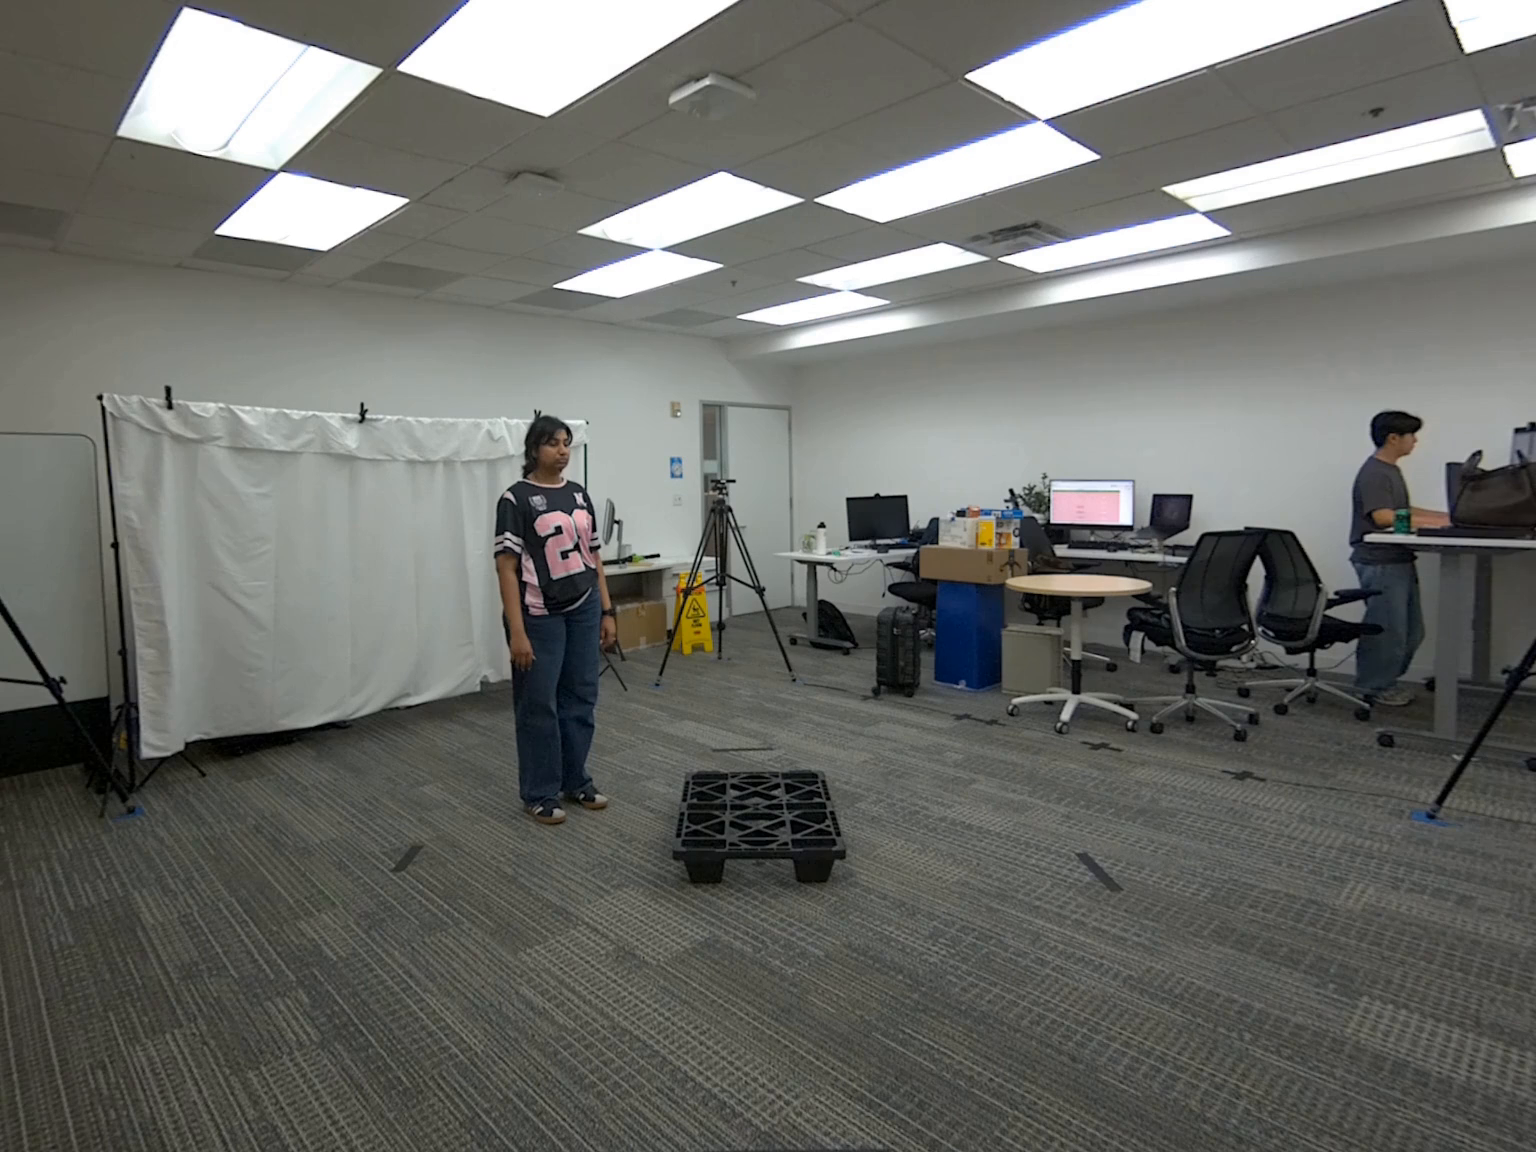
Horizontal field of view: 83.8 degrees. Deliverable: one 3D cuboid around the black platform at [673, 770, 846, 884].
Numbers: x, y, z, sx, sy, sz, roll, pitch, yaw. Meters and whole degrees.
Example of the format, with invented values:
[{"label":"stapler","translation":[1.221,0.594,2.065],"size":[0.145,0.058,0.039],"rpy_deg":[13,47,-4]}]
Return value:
[{"label":"black platform","translation":[-0.036,0.956,3.314],"size":[0.605,0.142,0.809],"rpy_deg":[-1,6,-1]}]
